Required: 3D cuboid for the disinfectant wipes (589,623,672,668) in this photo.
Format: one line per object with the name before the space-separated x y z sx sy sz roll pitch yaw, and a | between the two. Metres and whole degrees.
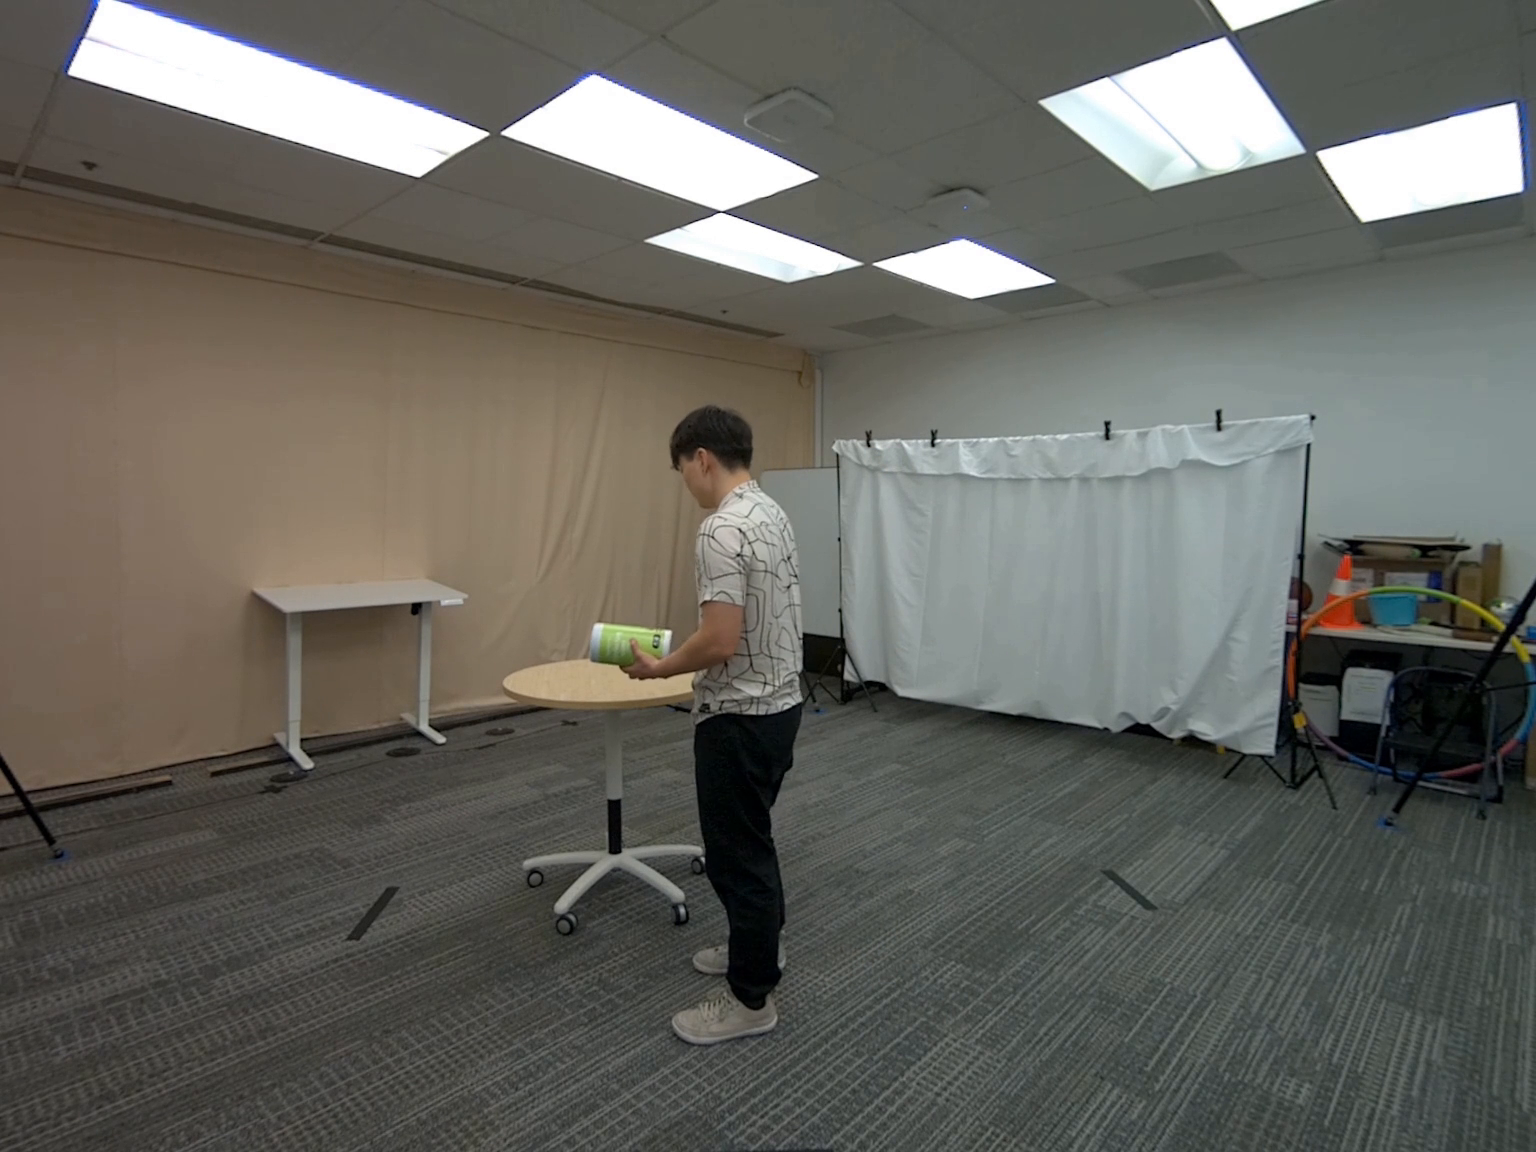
disinfectant wipes | -0.358 0.198 2.301 0.217 0.117 0.118 6 4 -1
